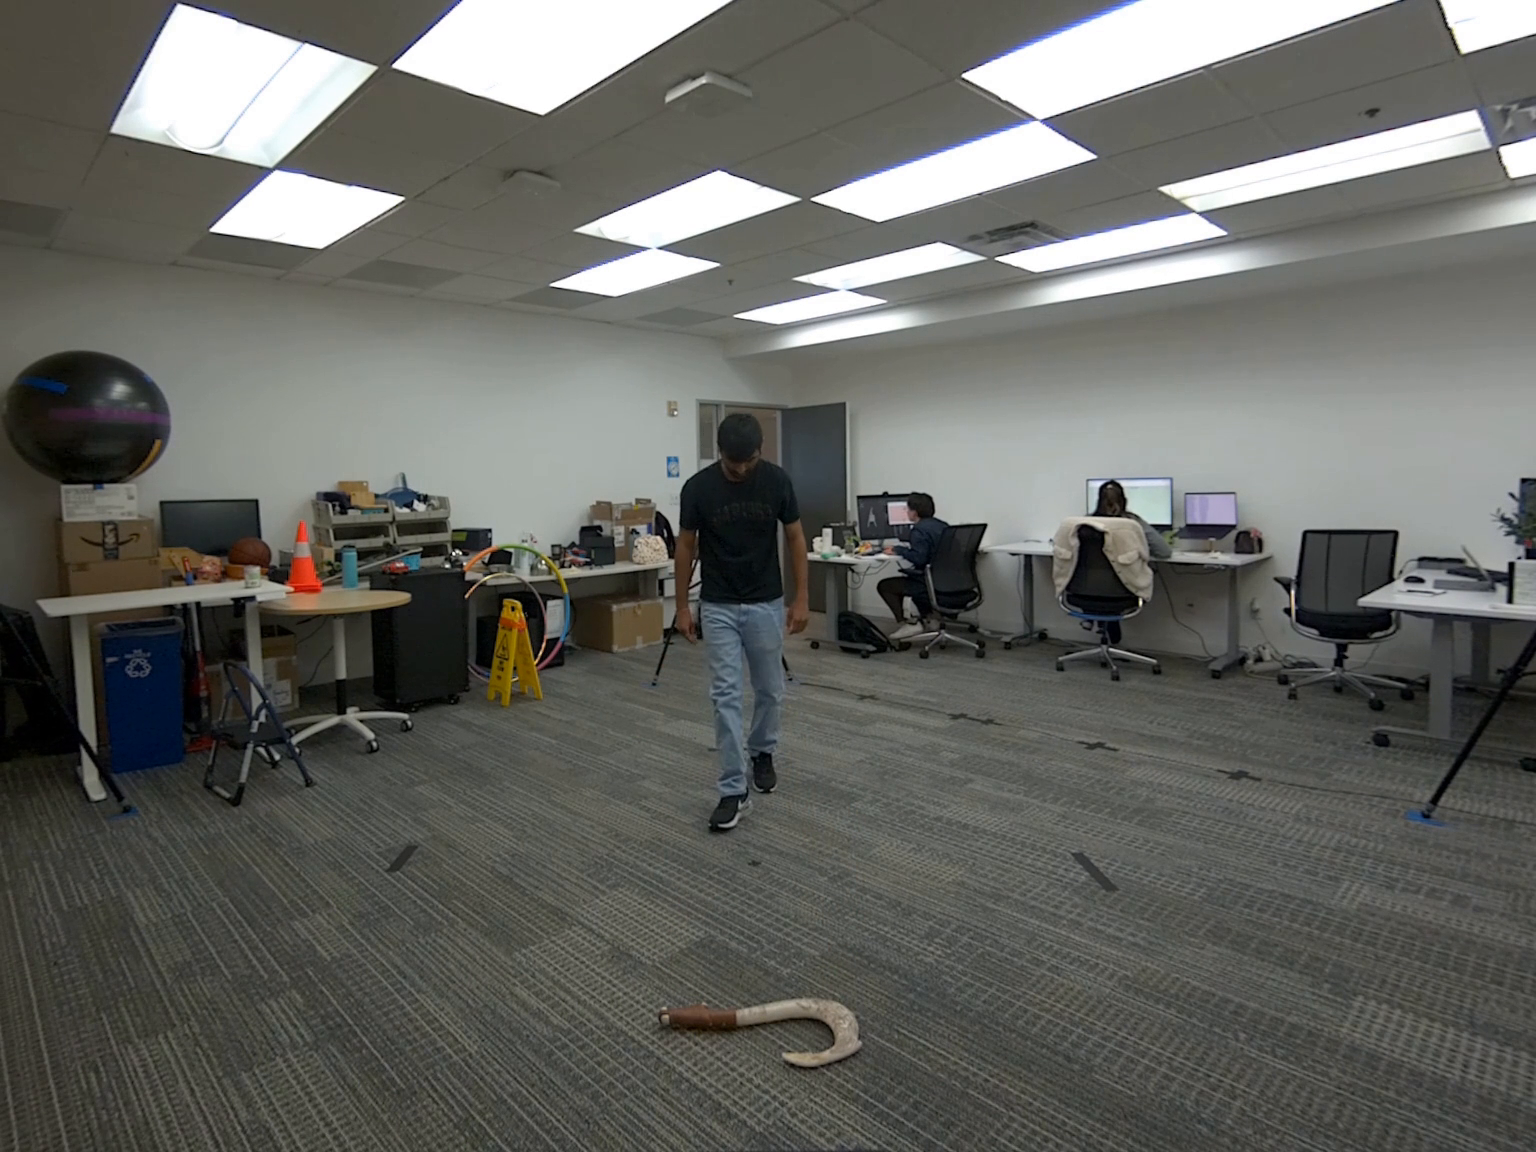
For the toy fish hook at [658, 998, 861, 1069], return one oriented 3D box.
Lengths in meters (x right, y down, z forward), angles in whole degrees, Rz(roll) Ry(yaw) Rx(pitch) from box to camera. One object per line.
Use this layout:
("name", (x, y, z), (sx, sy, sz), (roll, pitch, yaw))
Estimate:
("toy fish hook", (-0.022, 1.139, 2.135), (0.507, 0.048, 0.225), (-1, 6, 1))
